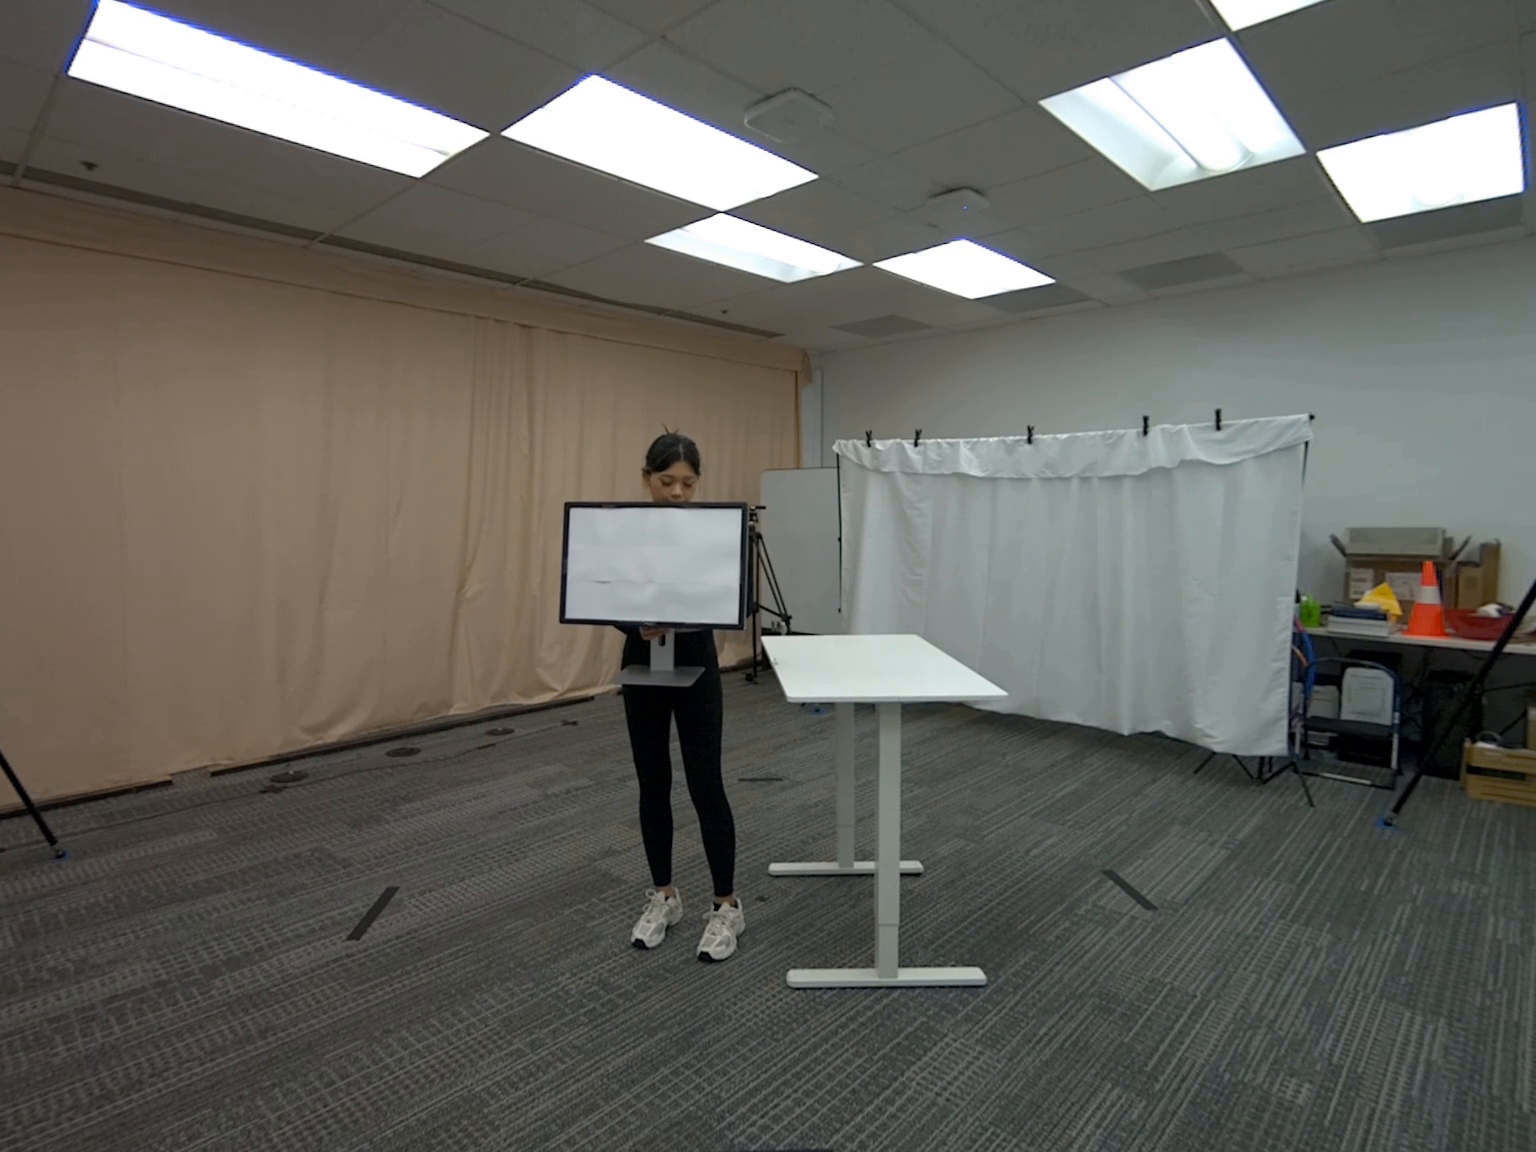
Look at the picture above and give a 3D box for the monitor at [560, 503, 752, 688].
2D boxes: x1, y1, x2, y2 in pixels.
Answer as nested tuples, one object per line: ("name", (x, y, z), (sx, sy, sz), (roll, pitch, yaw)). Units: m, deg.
("monitor", (-0.335, 0.050, 2.500), (0.546, 0.520, 0.185), (0, 7, 11))
